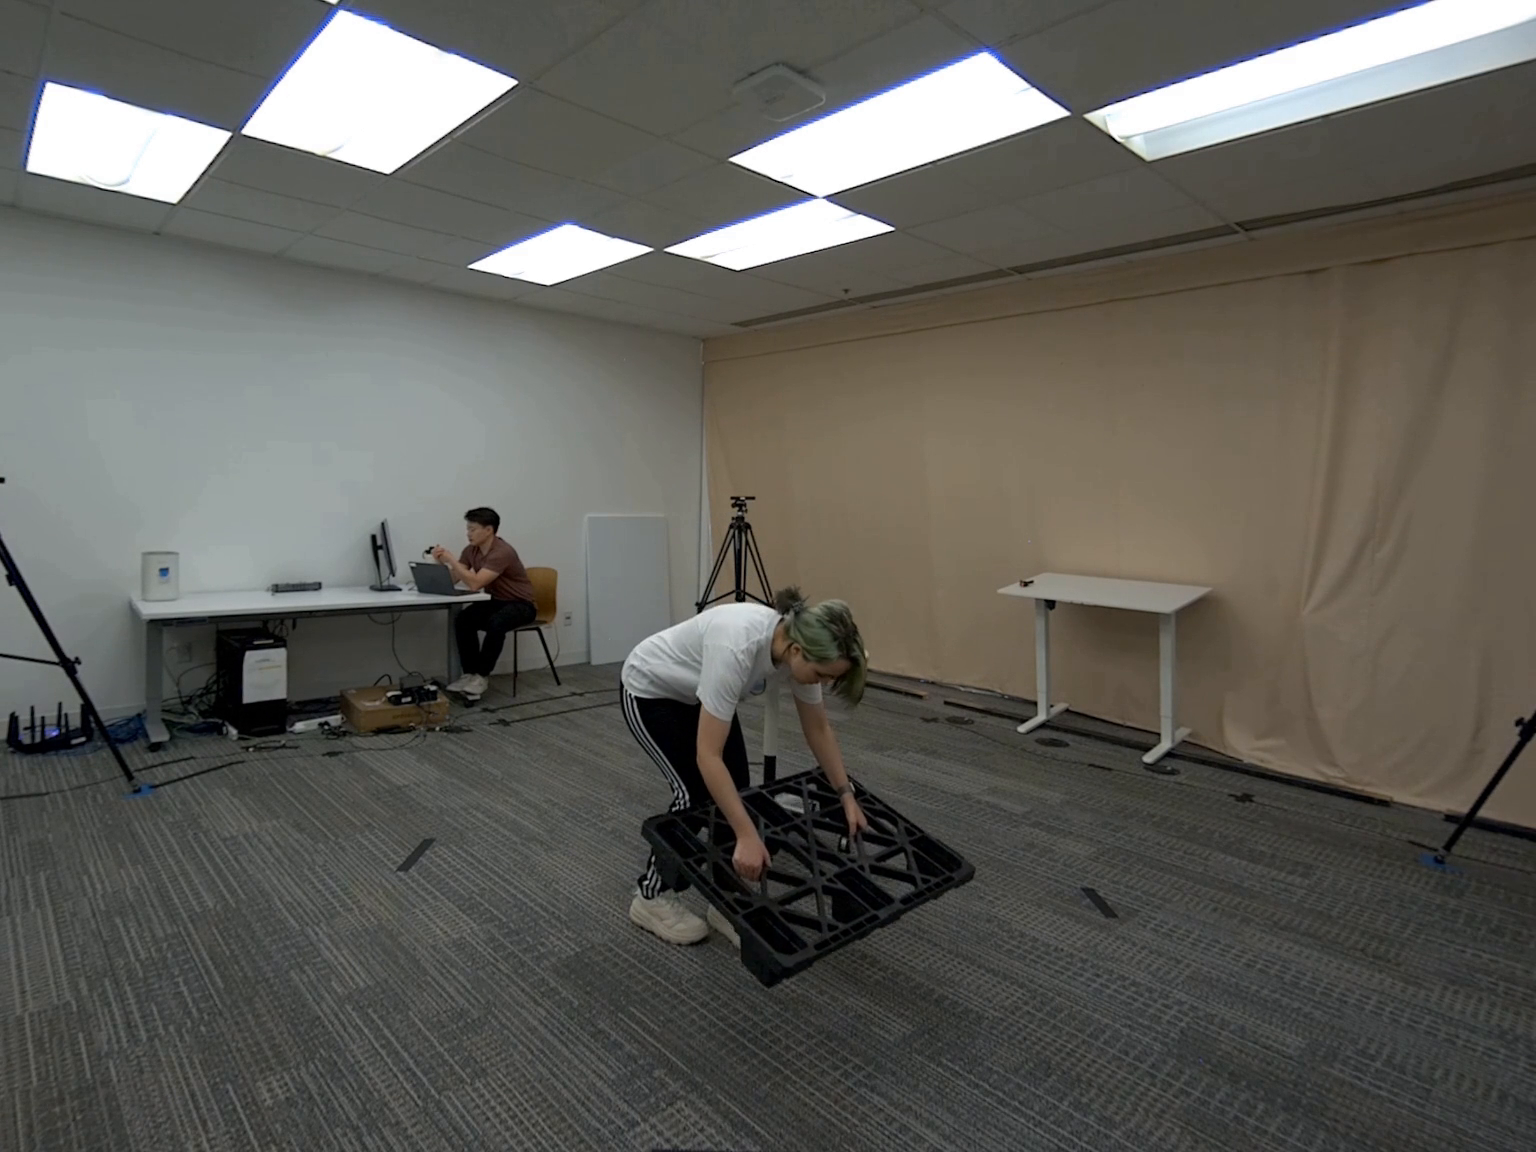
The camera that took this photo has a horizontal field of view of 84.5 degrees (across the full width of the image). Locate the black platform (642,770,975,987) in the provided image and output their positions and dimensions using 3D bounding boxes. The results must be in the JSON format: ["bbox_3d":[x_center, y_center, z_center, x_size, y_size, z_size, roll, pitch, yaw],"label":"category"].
[{"bbox_3d":[0.114,0.830,2.402,0.788,0.142,0.624,-5,24,-43],"label":"black platform"}]
